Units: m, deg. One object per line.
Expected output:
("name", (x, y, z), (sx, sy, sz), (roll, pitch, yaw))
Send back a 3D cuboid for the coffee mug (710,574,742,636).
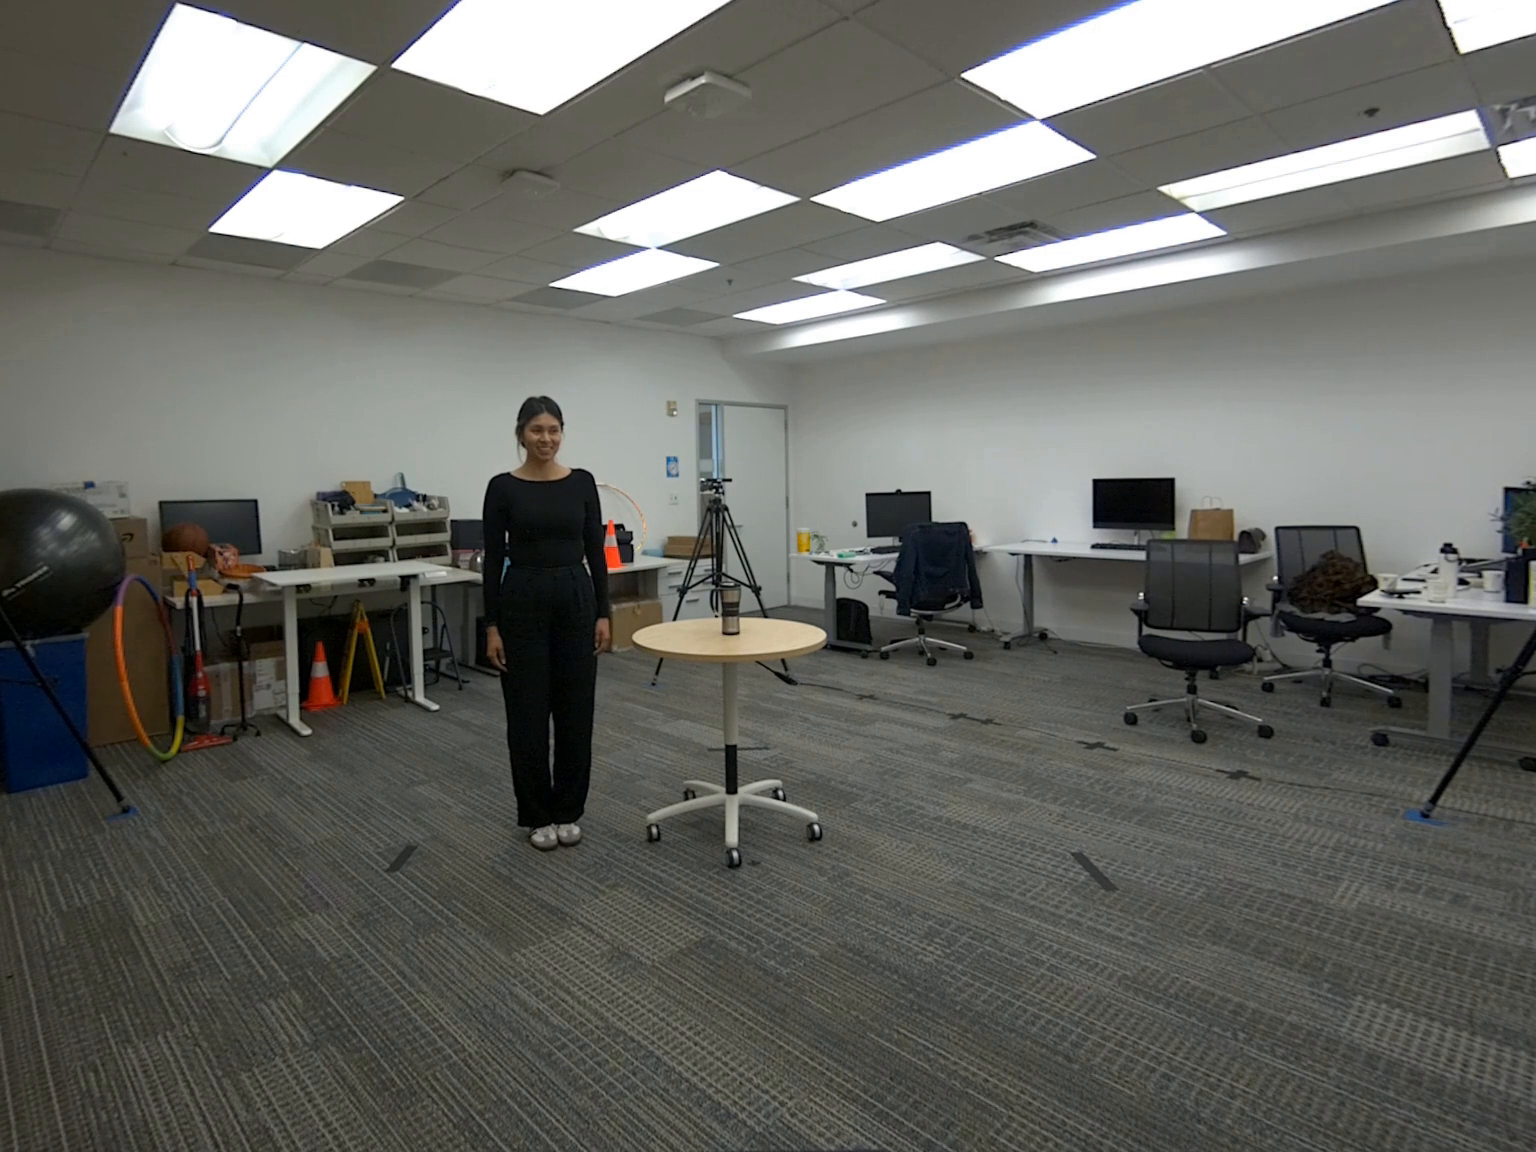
("coffee mug", (-0.164, 0.131, 3.387), (0.126, 0.201, 0.086), (9, 15, 41))
